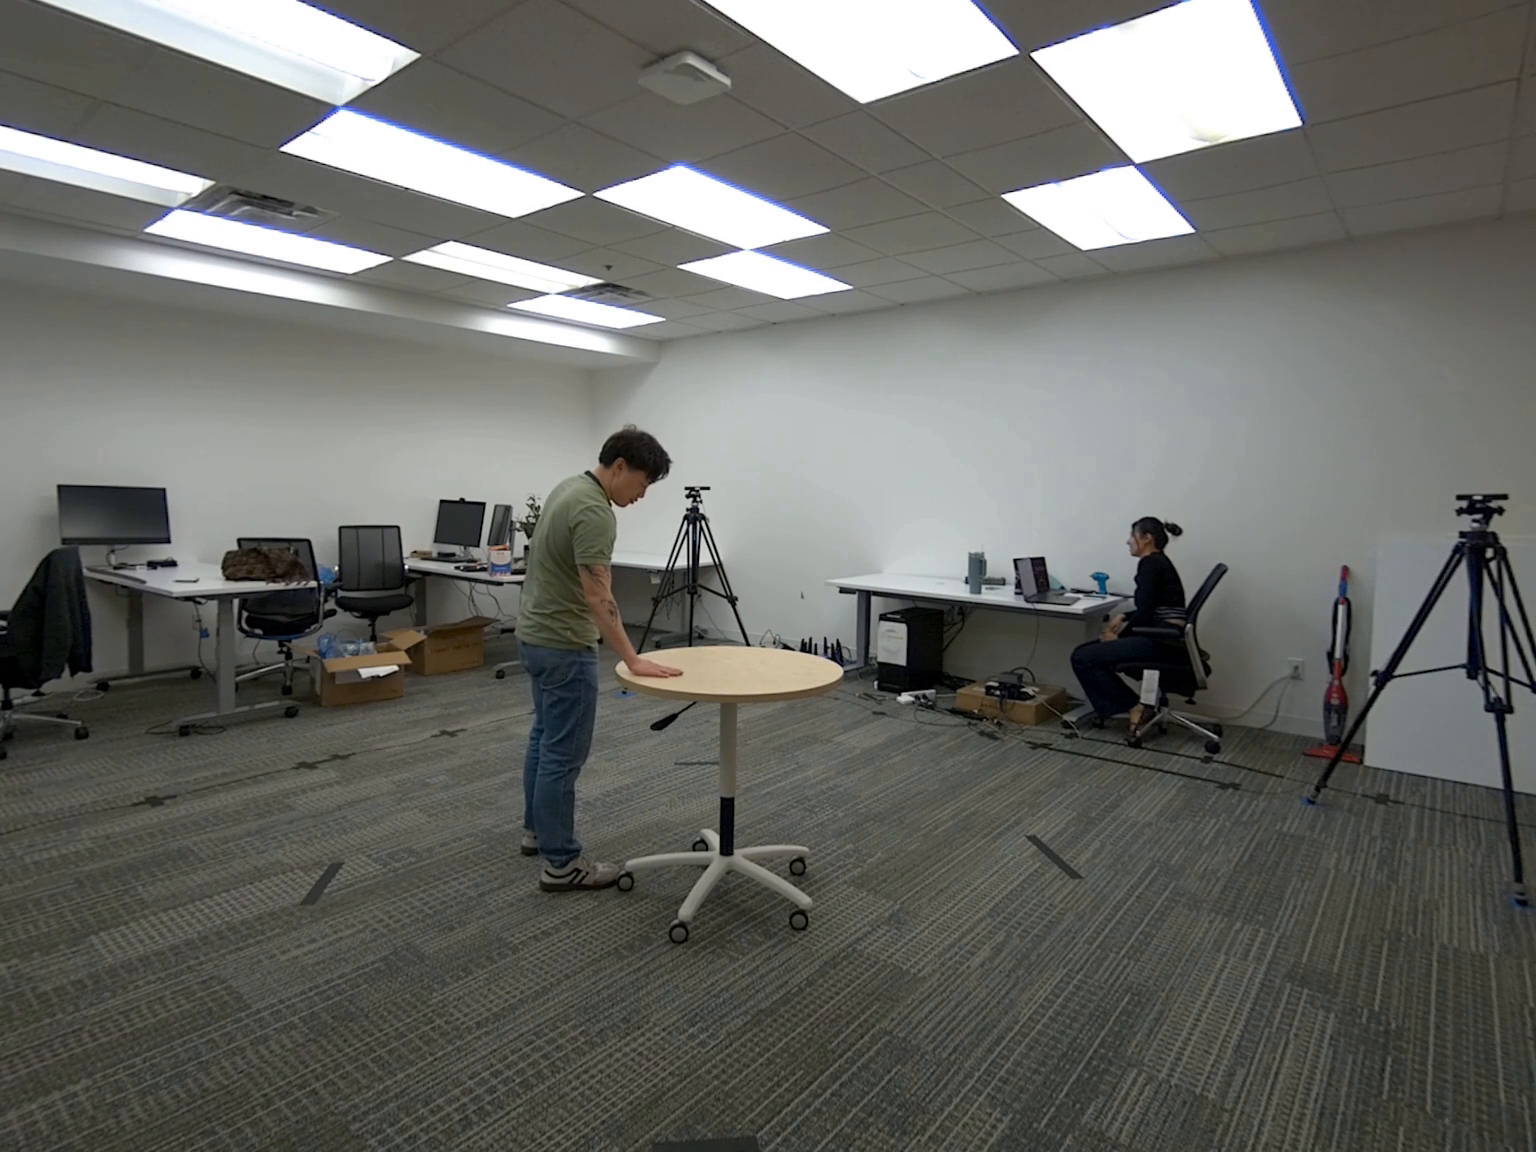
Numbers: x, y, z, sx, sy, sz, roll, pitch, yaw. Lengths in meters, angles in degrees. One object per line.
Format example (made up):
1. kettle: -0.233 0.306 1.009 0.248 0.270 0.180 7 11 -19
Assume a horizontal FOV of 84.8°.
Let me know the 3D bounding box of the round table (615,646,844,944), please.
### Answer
1. round table: -0.143 0.700 2.892 0.763 0.791 0.768 1 4 -2
